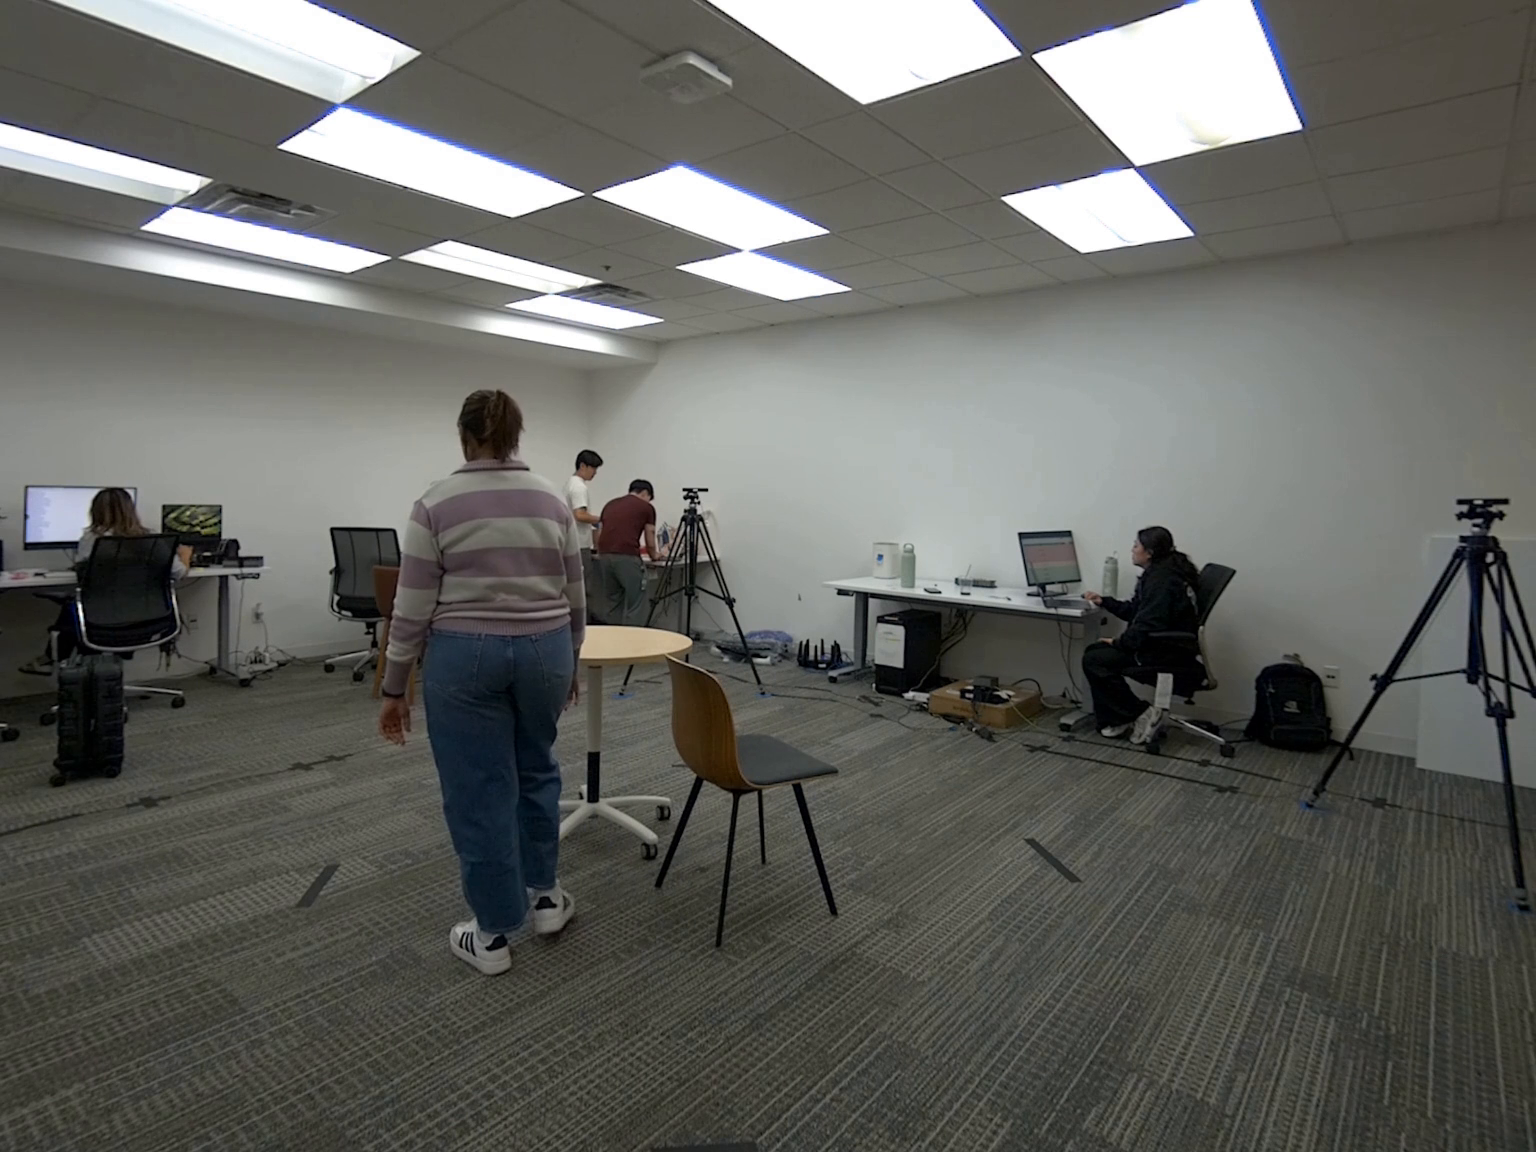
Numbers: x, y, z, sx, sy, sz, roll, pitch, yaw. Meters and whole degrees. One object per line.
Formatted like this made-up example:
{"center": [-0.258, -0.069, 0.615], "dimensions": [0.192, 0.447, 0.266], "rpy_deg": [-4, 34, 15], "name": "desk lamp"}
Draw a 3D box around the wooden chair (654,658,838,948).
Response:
{"center": [-0.074, 0.670, 2.853], "dimensions": [0.510, 0.873, 0.493], "rpy_deg": [-5, 6, -31], "name": "wooden chair"}
